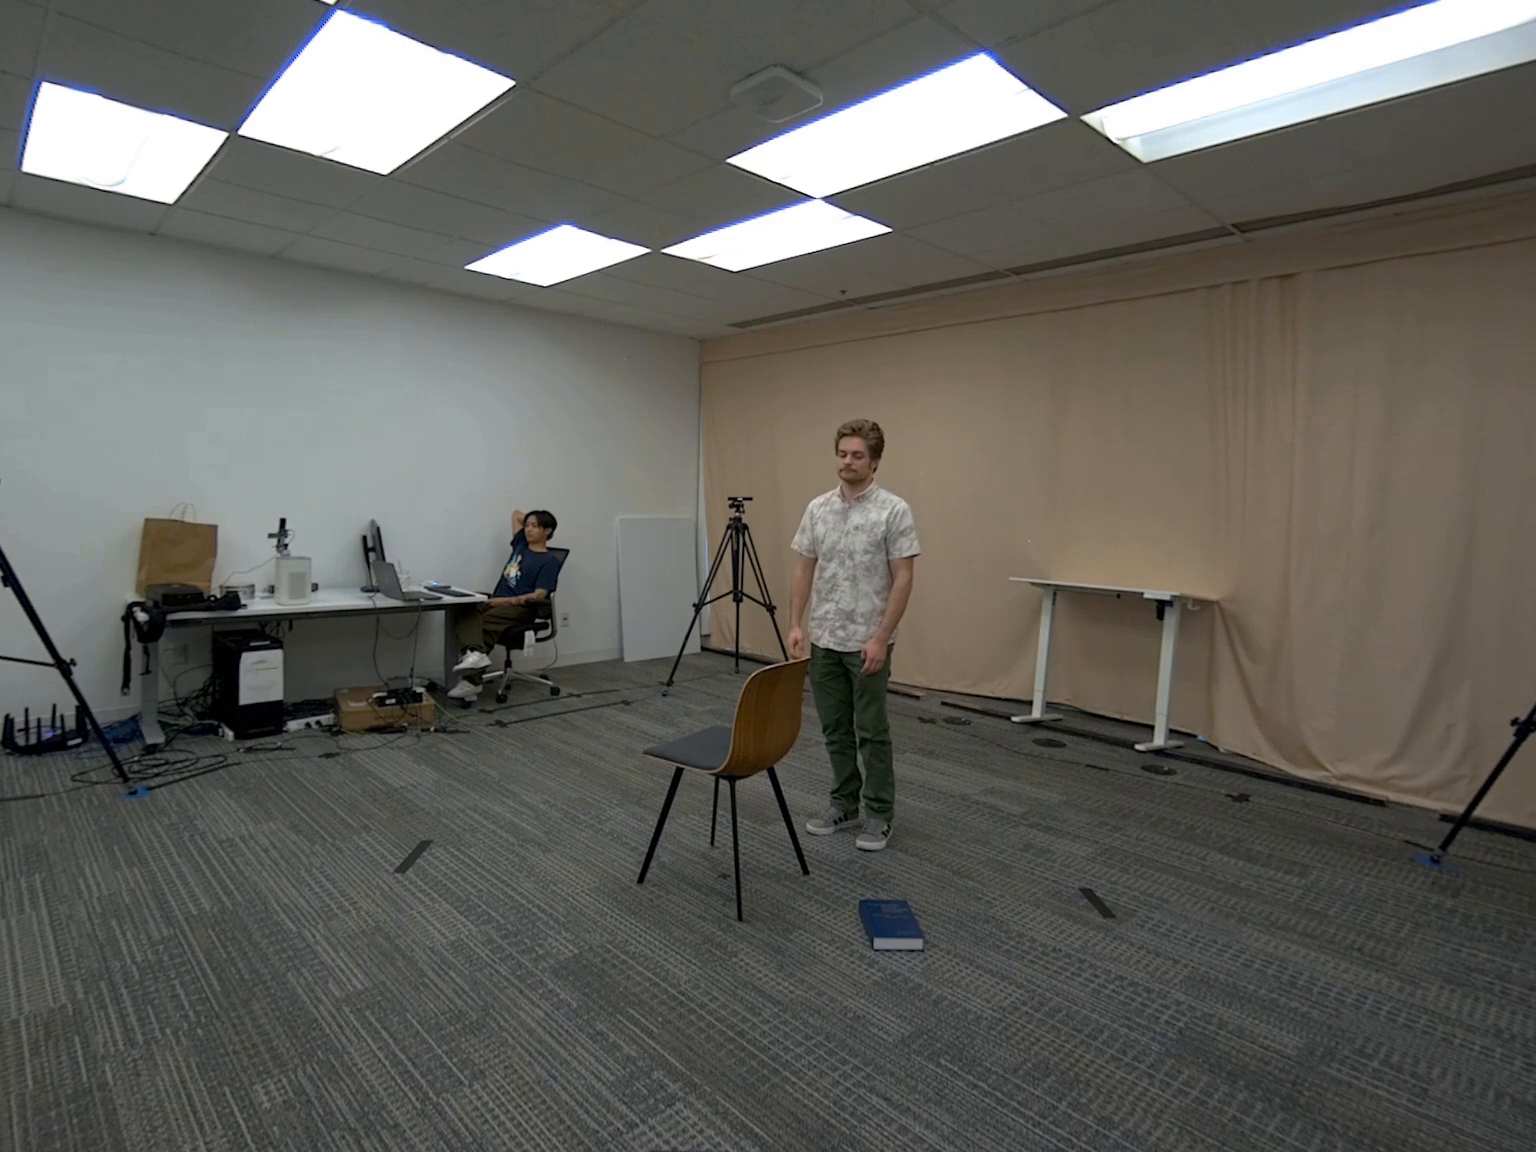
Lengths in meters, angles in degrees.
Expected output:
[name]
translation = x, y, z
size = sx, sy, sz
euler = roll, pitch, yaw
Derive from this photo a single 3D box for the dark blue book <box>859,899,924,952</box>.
[dark blue book]
translation = 0.393, 1.134, 2.728
size = 0.163, 0.045, 0.246
euler = 2, 5, -4
